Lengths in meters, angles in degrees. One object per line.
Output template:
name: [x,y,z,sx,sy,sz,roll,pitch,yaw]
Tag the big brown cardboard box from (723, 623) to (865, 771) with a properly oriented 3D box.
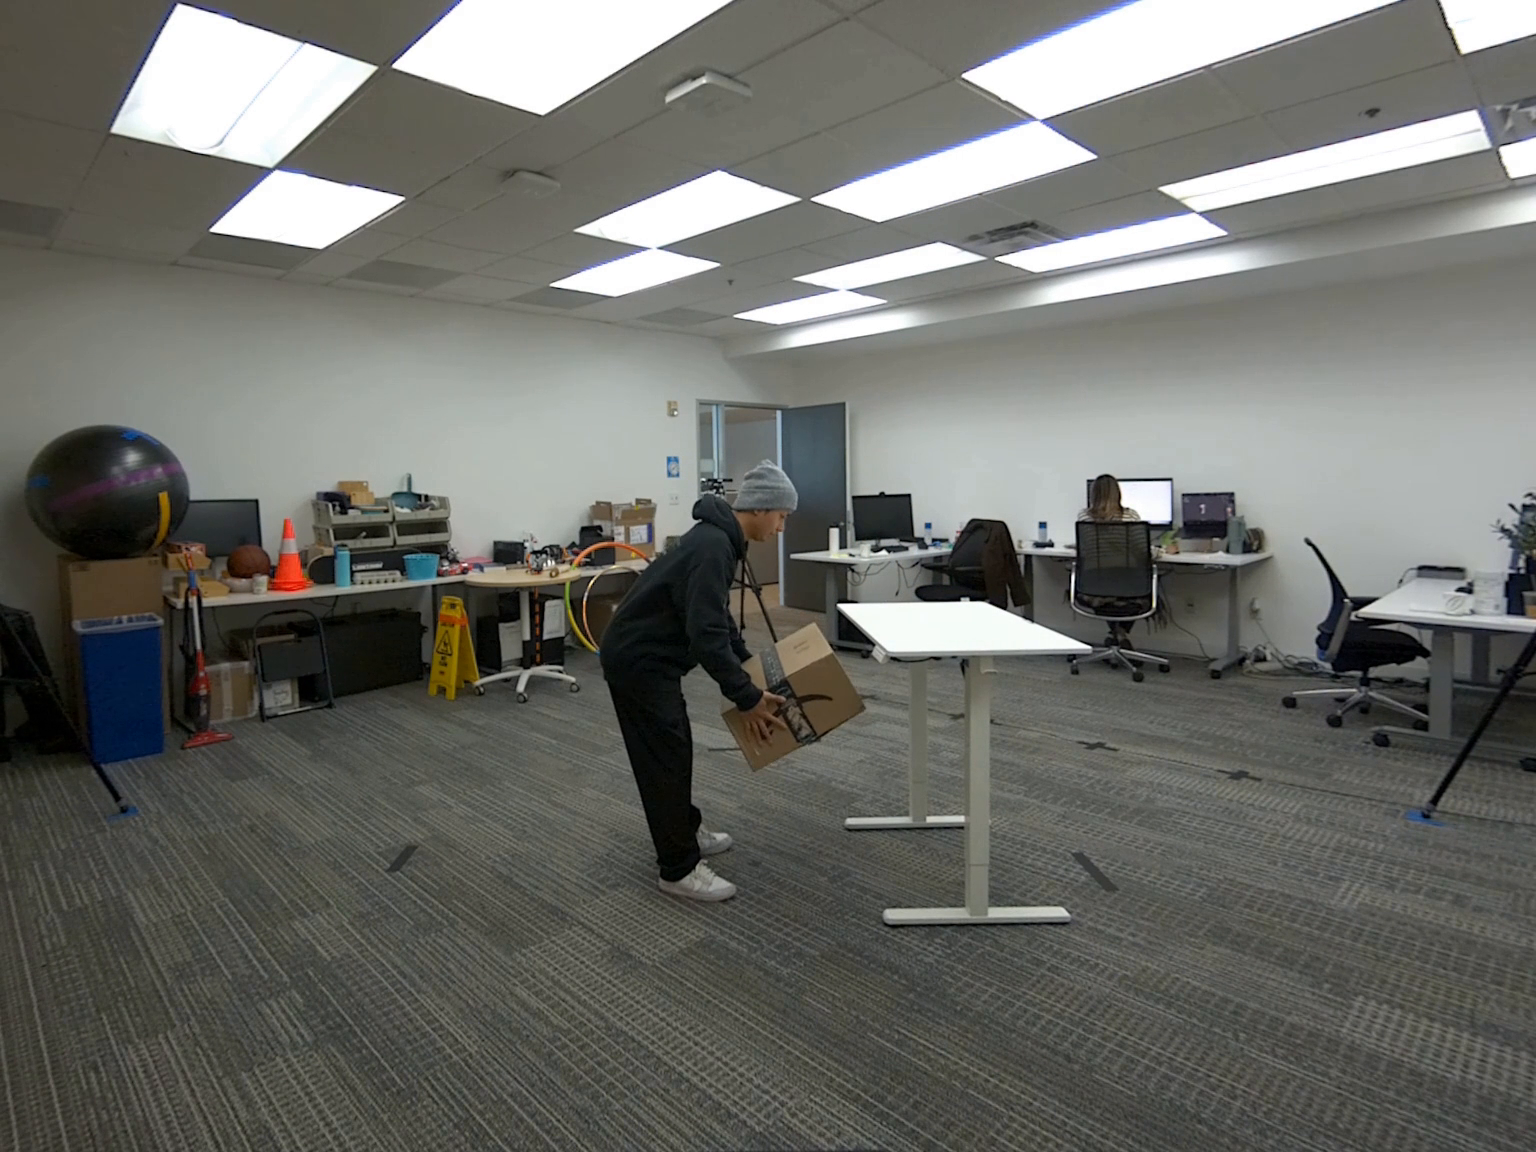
big brown cardboard box: [0.065,0.403,2.994,0.418,0.231,0.592,-30,7,1]
